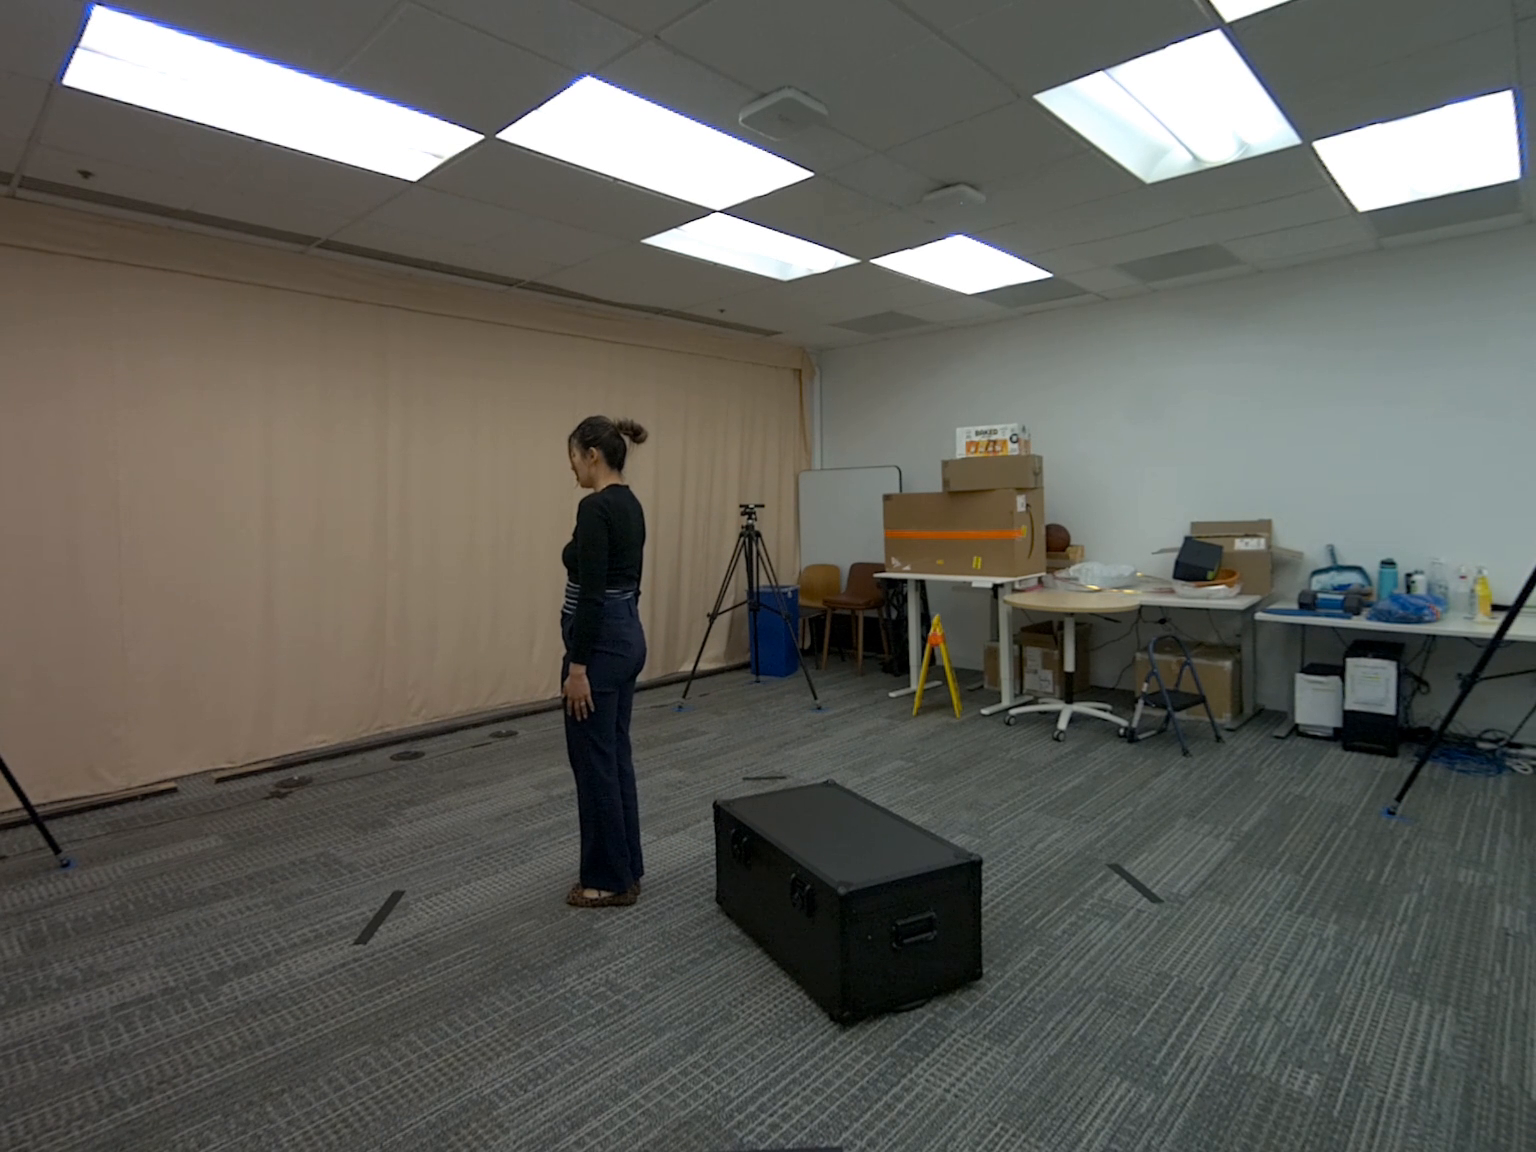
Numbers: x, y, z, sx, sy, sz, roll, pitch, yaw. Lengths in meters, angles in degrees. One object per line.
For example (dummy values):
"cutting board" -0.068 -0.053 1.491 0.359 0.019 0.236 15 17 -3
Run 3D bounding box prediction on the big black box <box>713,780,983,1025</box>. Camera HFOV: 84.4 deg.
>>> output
"big black box" 0.236 0.979 2.619 0.508 0.395 0.885 -4 5 -27
